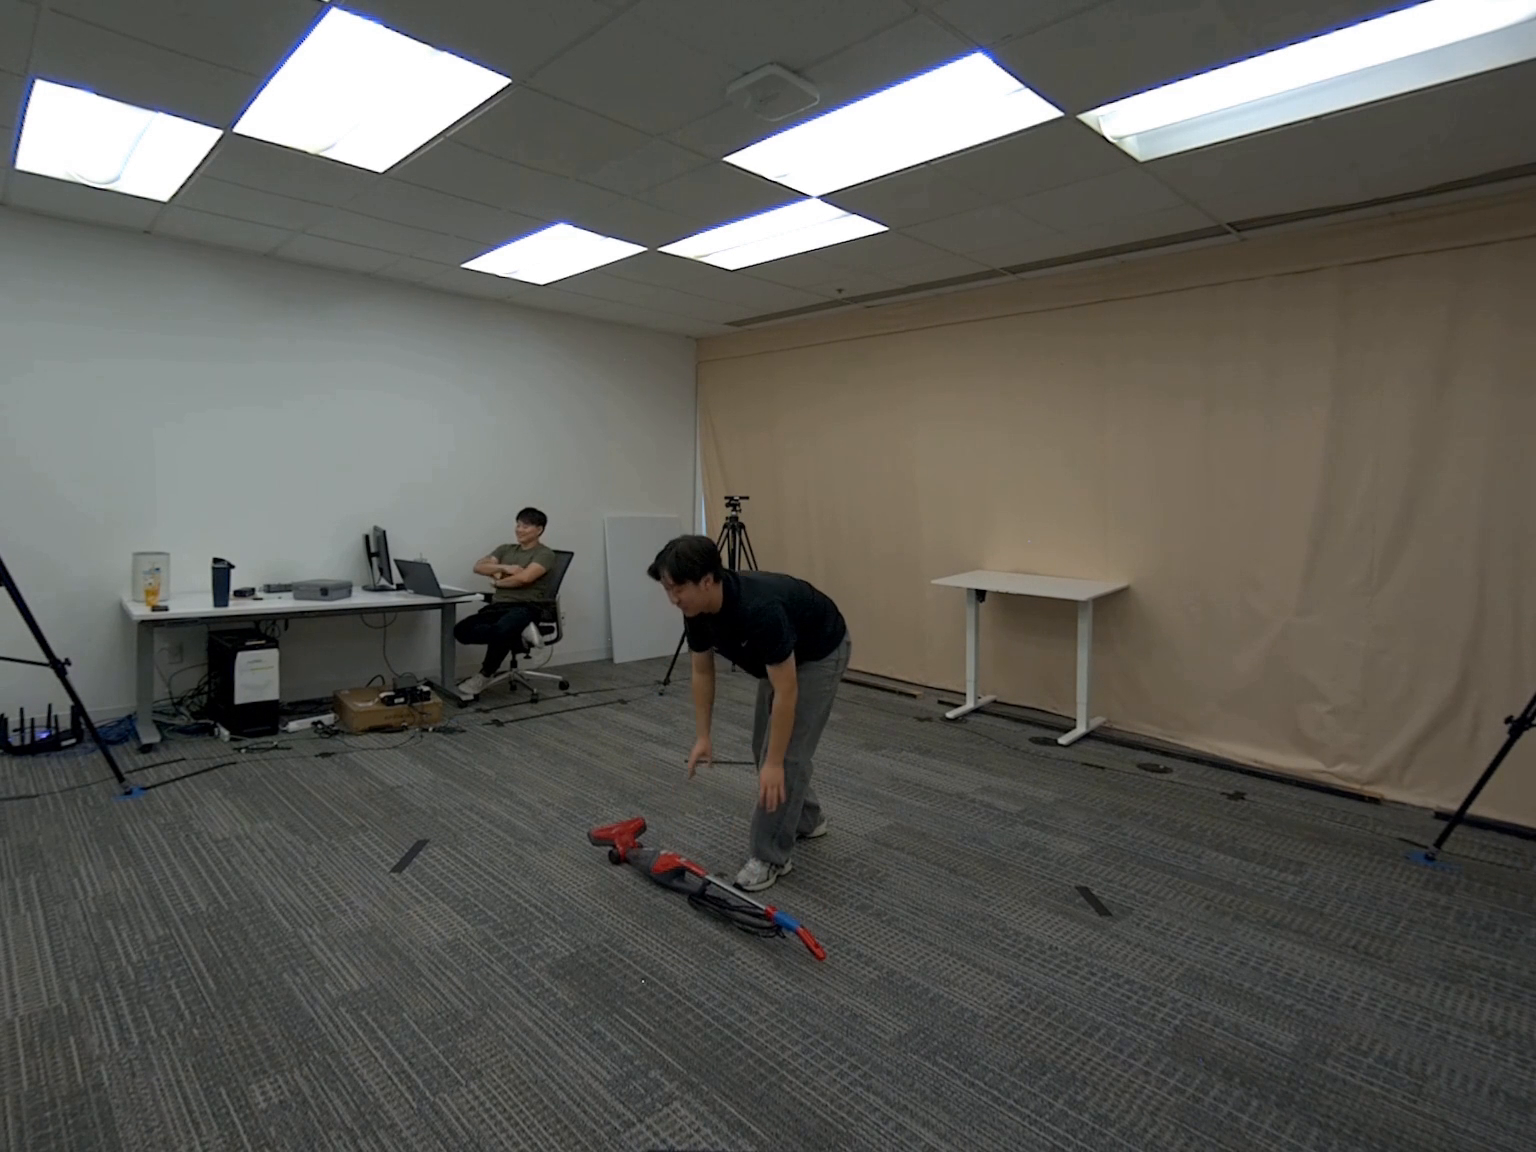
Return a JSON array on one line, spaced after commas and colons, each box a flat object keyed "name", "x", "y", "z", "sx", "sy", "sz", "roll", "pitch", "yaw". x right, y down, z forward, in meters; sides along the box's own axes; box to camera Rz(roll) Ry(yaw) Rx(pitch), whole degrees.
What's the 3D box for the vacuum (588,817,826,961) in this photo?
[{"name": "vacuum", "x": -0.215, "y": 1.066, "z": 2.847, "sx": 0.246, "sy": 0.144, "sz": 1.076, "roll": 1, "pitch": 4, "yaw": -41}]
